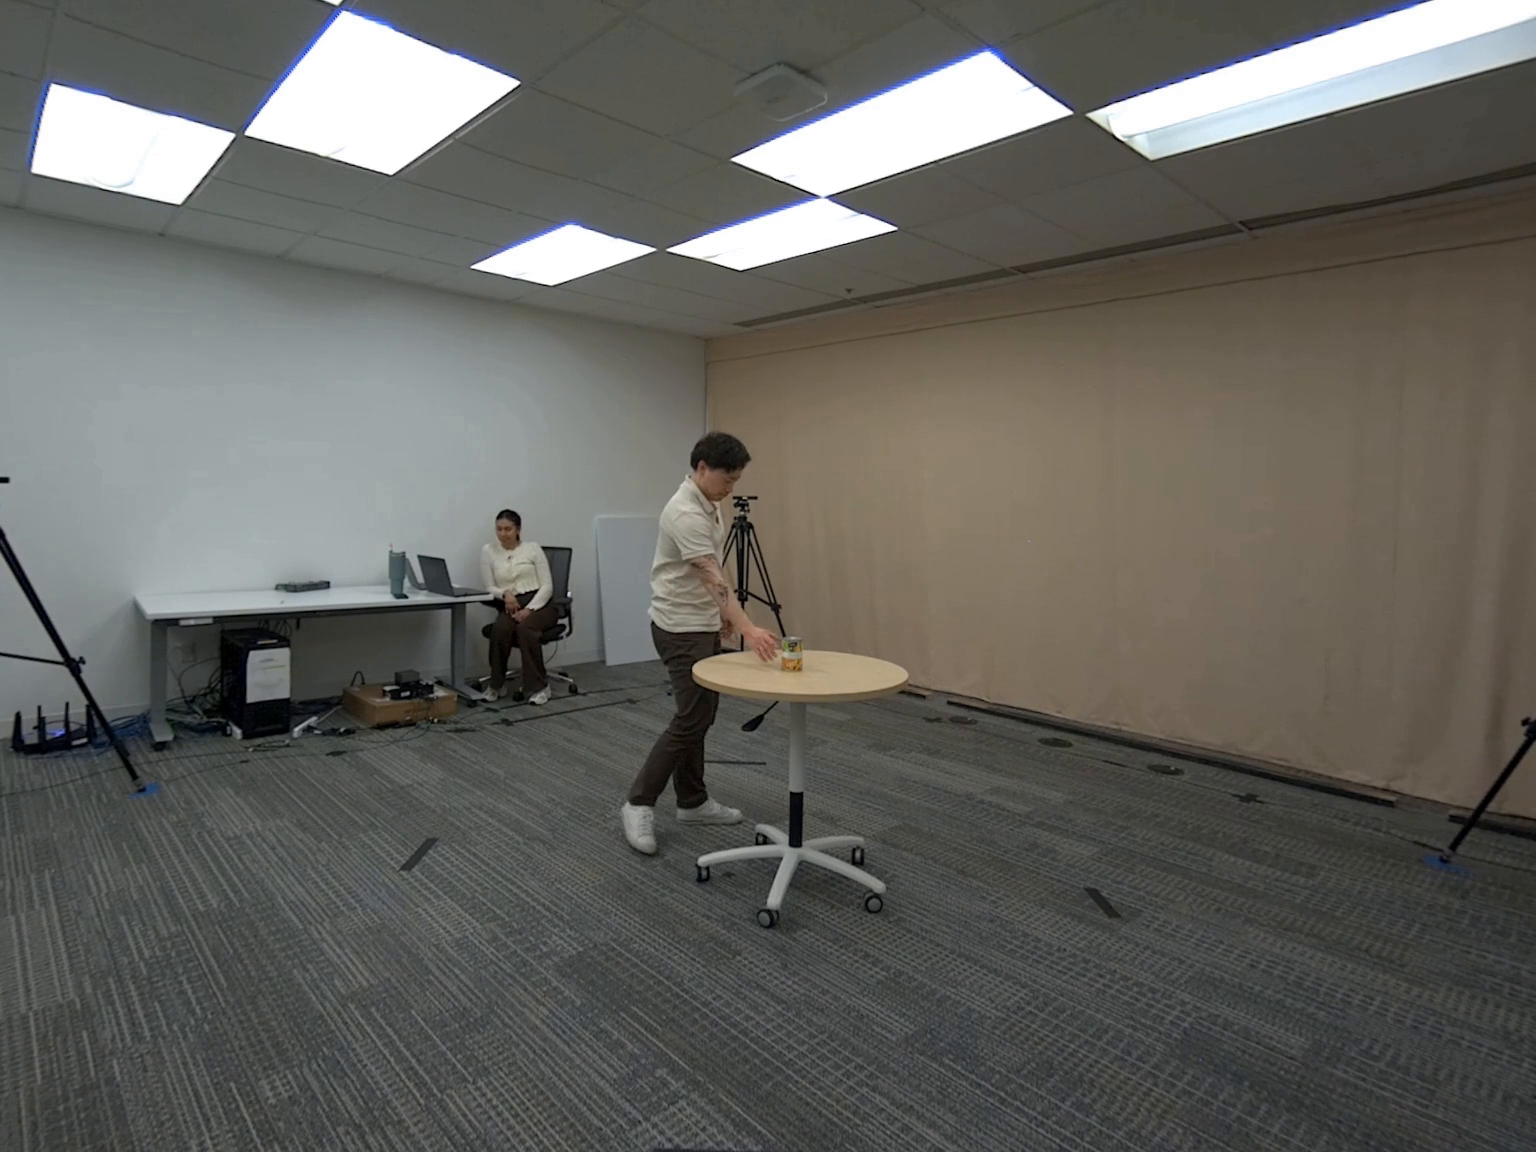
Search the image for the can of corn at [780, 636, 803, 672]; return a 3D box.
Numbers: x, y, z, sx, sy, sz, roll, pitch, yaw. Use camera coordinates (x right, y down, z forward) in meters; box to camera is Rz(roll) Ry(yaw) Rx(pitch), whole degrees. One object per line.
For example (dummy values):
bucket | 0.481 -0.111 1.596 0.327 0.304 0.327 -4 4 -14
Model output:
can of corn | 0.078 0.276 2.992 0.074 0.110 0.074 2 5 -2
